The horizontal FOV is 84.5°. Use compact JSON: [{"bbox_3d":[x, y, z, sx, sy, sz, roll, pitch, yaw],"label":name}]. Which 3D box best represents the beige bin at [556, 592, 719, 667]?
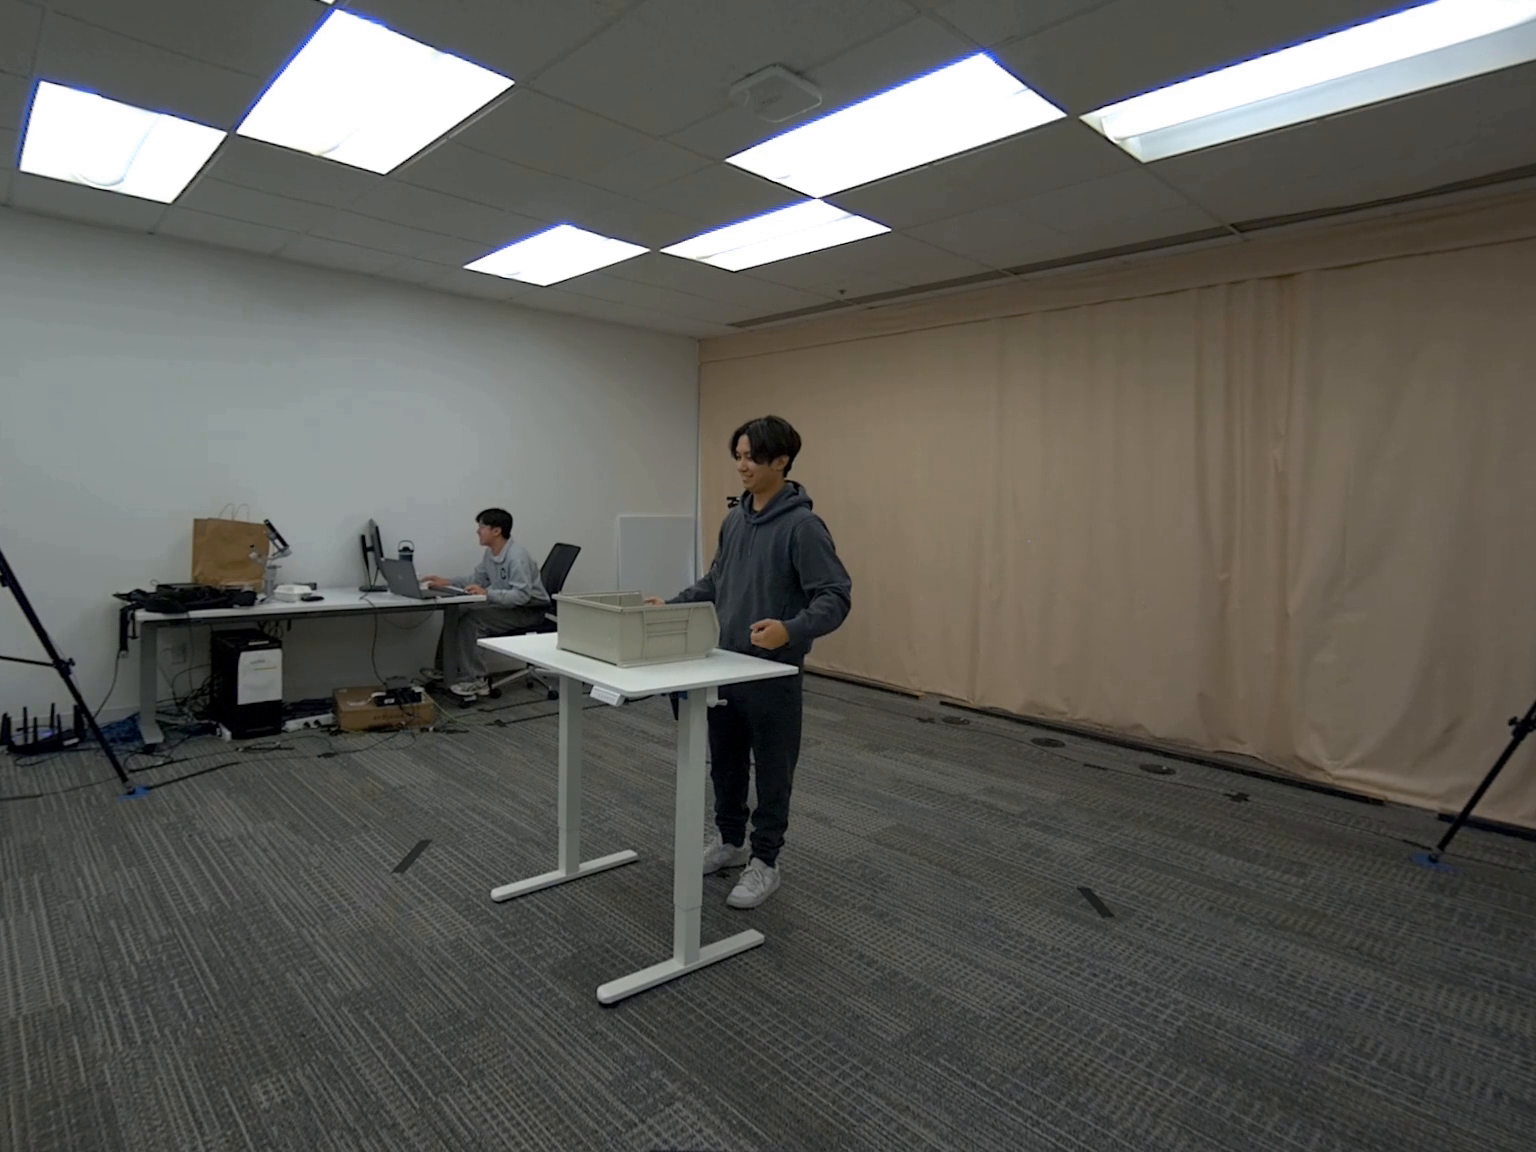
[{"bbox_3d":[-0.435,0.164,2.724,0.369,0.188,0.433,-3,6,-41],"label":"beige bin"}]
